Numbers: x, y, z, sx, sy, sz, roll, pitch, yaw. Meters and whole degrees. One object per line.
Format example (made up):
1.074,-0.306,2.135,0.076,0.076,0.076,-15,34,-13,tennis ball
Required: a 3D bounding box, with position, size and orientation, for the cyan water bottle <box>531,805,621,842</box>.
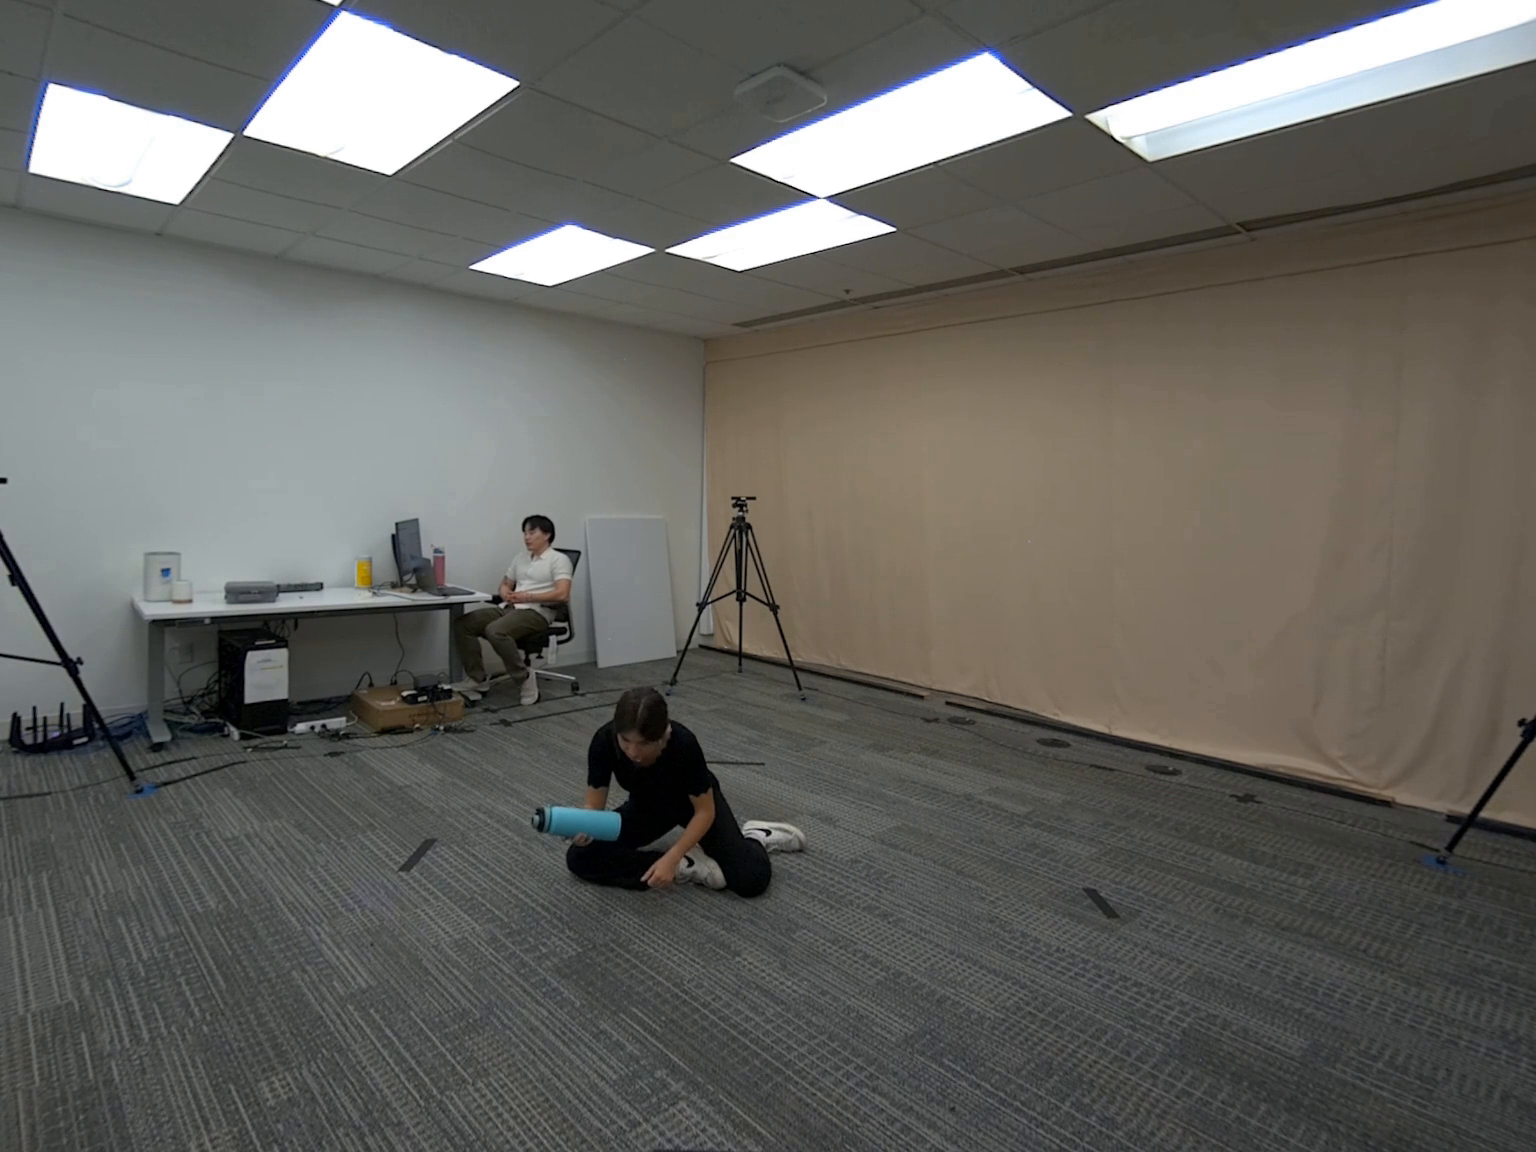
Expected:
-0.635,0.784,2.716,0.278,0.092,0.094,12,0,-22,cyan water bottle
